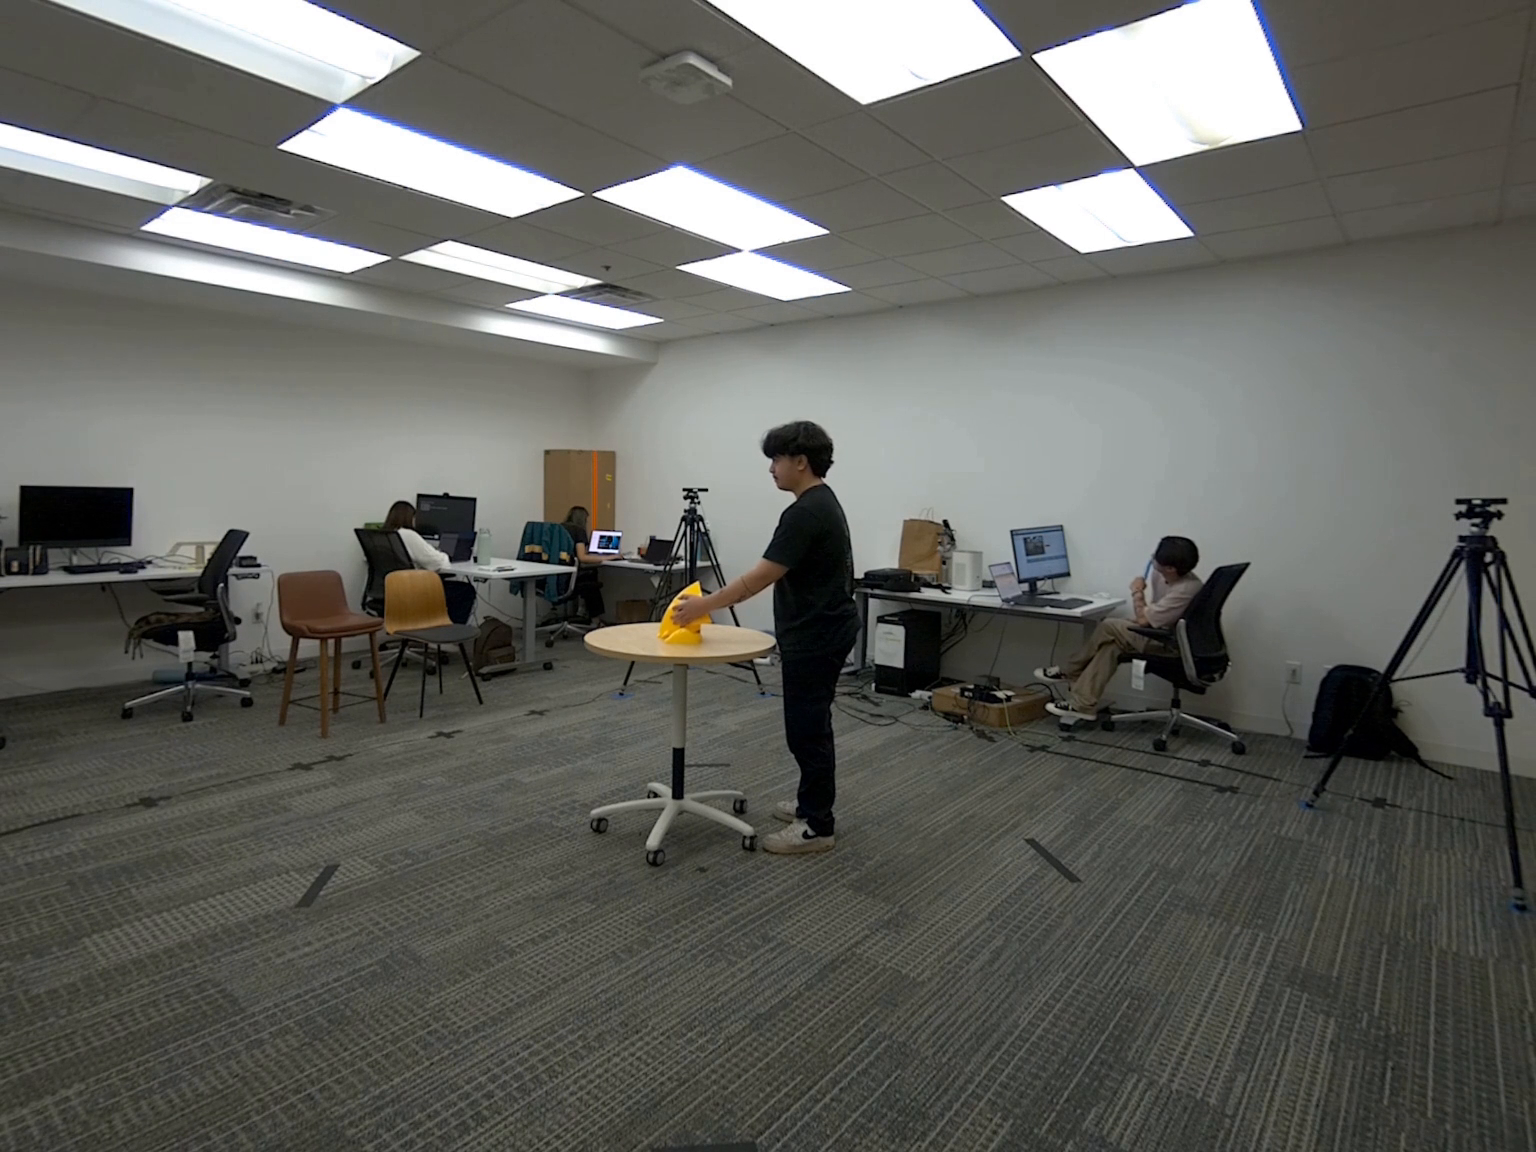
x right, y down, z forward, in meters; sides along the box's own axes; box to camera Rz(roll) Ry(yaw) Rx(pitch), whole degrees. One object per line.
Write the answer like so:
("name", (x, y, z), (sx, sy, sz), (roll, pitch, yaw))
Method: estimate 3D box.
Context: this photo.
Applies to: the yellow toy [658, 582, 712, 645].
("yellow toy", (-0.349, 0.135, 3.386), (0.190, 0.230, 0.209), (-1, 5, -18))
